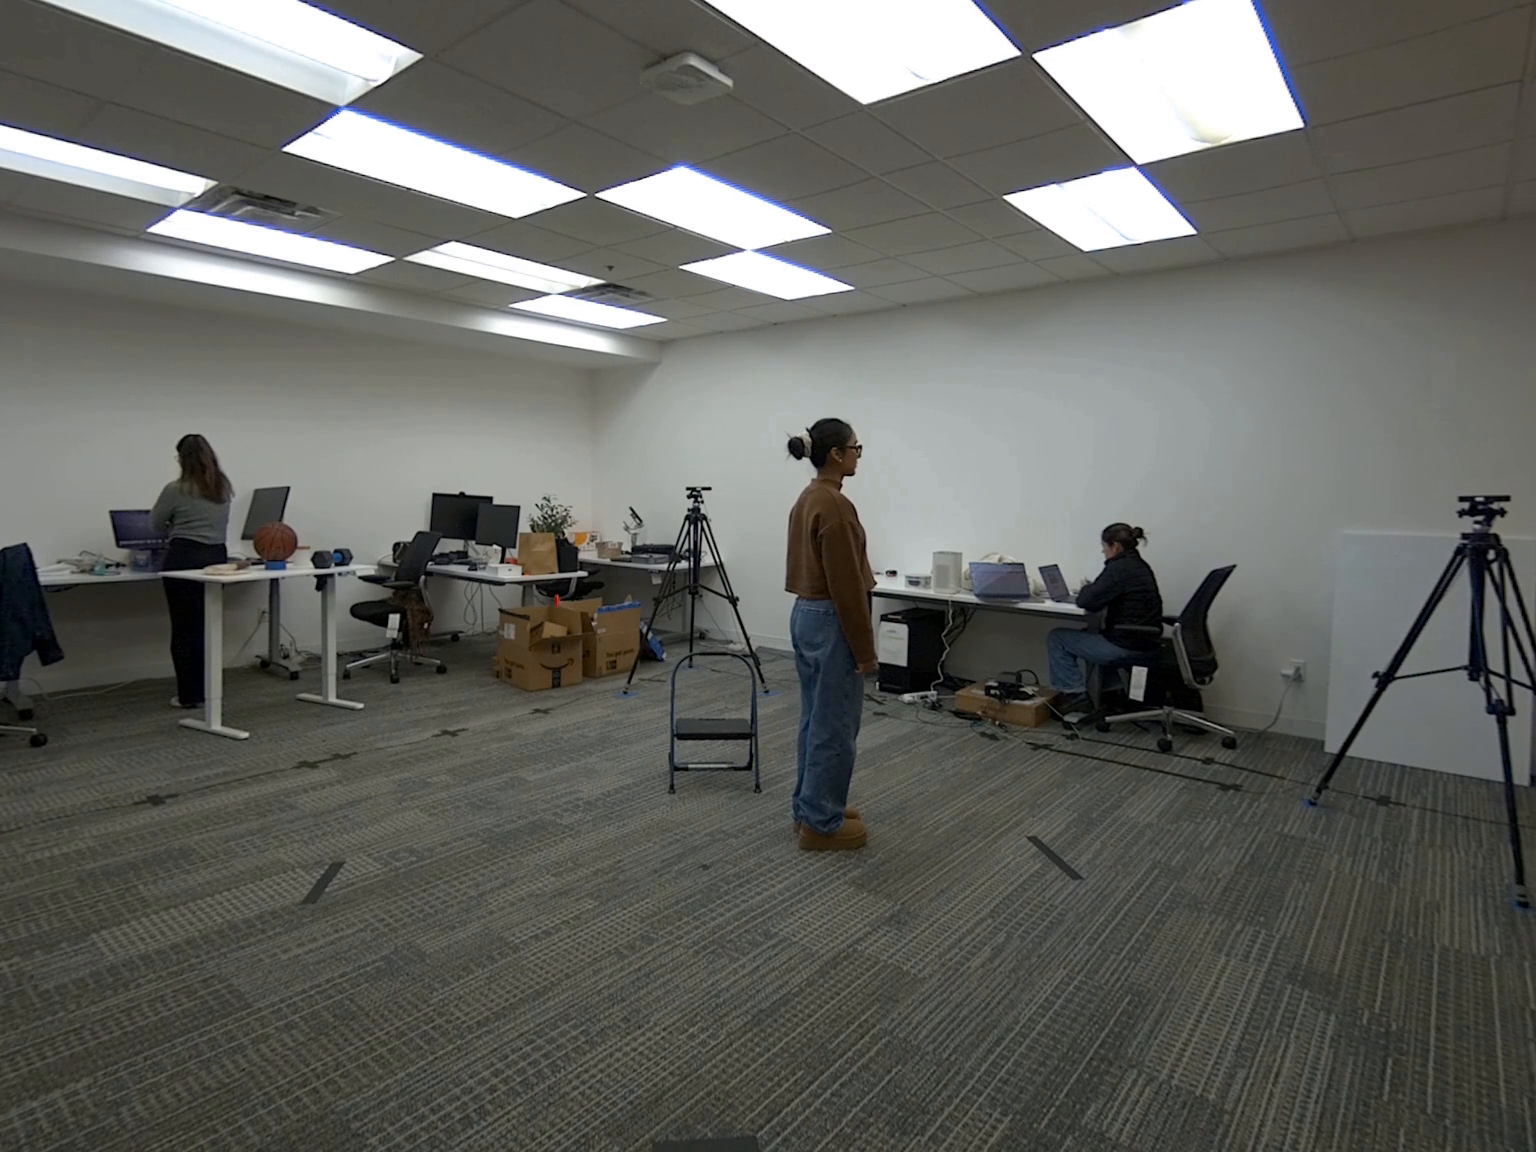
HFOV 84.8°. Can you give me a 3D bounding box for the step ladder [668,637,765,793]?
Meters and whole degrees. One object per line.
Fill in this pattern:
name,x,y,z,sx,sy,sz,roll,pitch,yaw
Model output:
step ladder,-0.268,0.671,4.044,0.428,0.604,0.352,0,3,-6
